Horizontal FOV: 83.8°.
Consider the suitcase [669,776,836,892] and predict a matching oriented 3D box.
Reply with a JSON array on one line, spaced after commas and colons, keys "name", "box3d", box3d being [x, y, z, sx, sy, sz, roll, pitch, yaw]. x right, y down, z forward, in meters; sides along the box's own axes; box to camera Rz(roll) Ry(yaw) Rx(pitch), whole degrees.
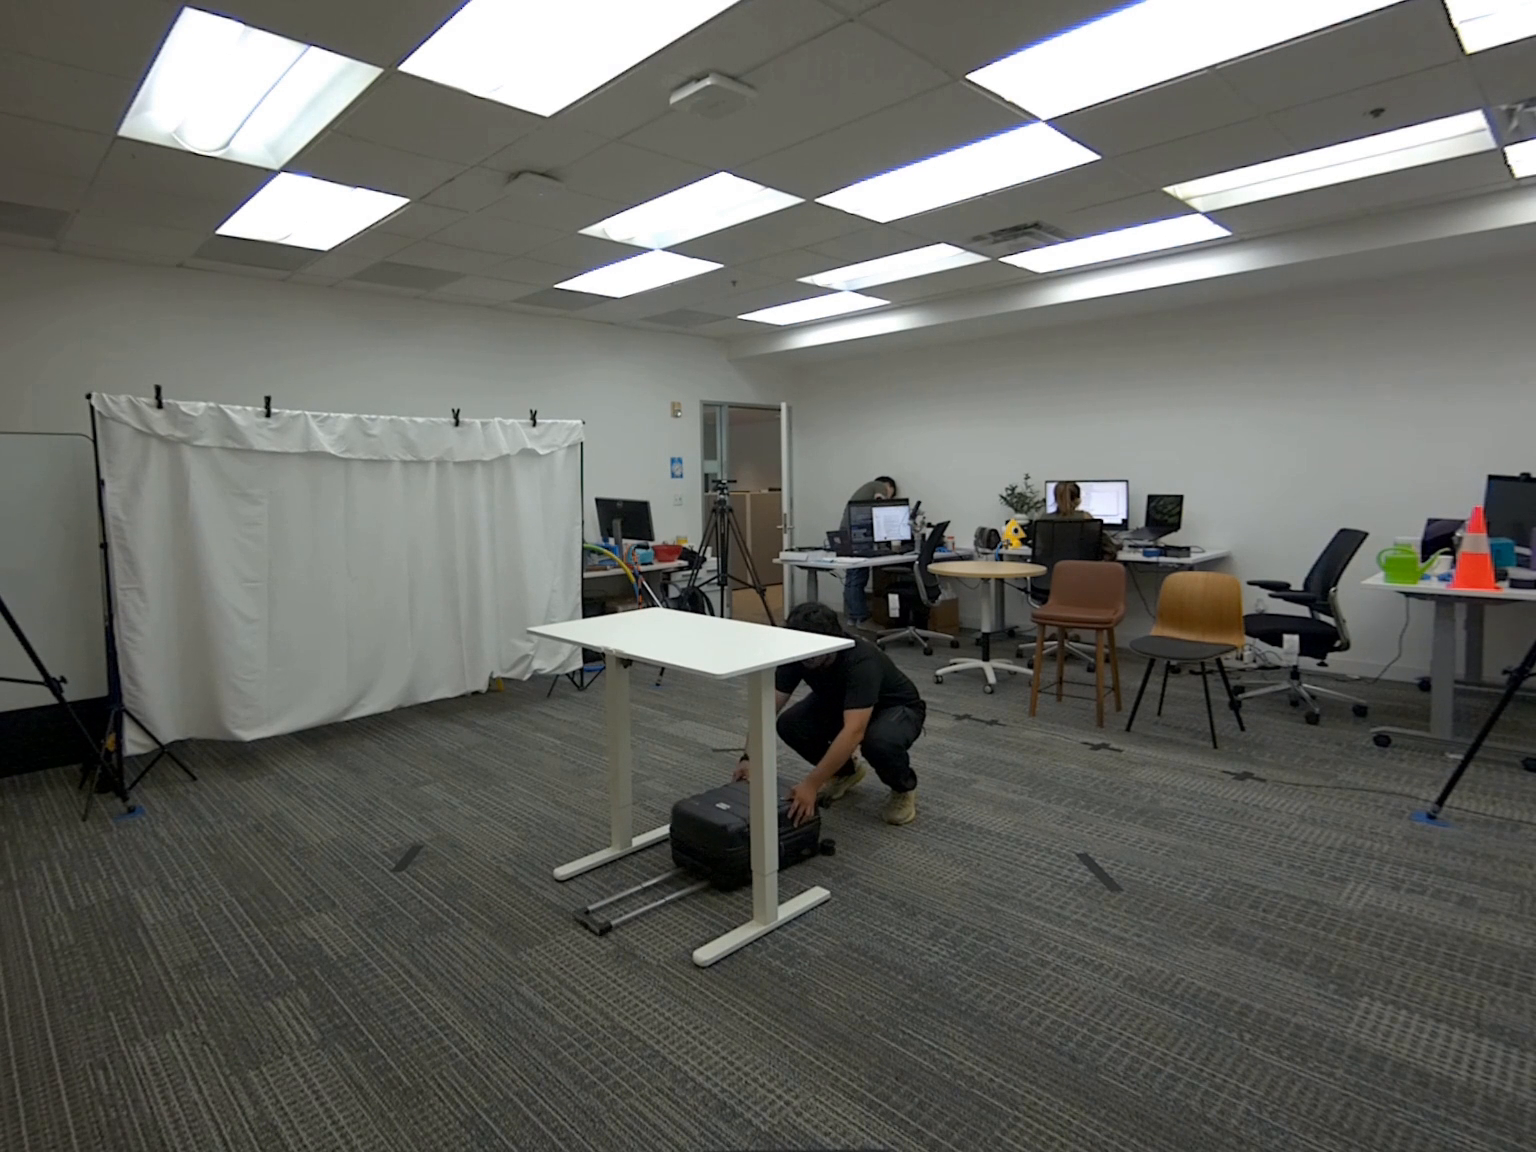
[{"name": "suitcase", "box3d": [-0.215, 0.937, 3.004, 0.952, 0.256, 0.396, -6, 9, -43]}]
